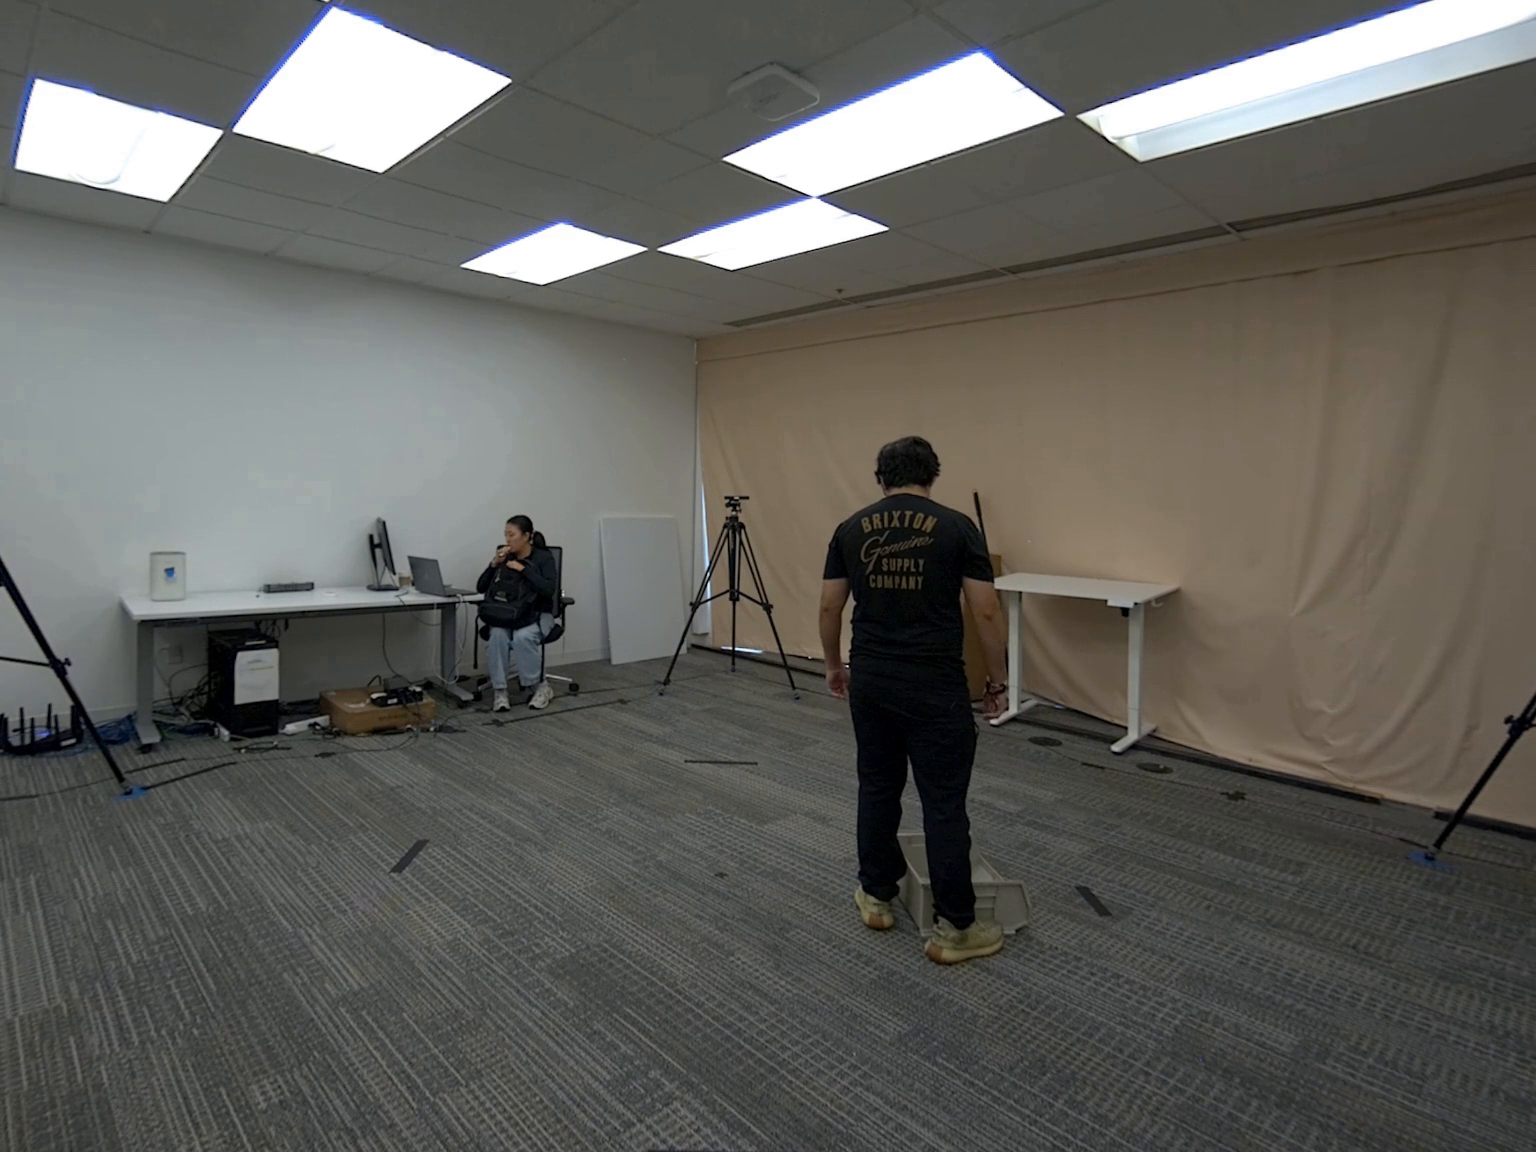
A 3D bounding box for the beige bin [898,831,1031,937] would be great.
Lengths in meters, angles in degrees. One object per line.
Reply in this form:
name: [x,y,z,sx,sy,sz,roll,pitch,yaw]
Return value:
beige bin: [0.633,1.049,2.916,0.375,0.188,0.426,-1,6,-8]
